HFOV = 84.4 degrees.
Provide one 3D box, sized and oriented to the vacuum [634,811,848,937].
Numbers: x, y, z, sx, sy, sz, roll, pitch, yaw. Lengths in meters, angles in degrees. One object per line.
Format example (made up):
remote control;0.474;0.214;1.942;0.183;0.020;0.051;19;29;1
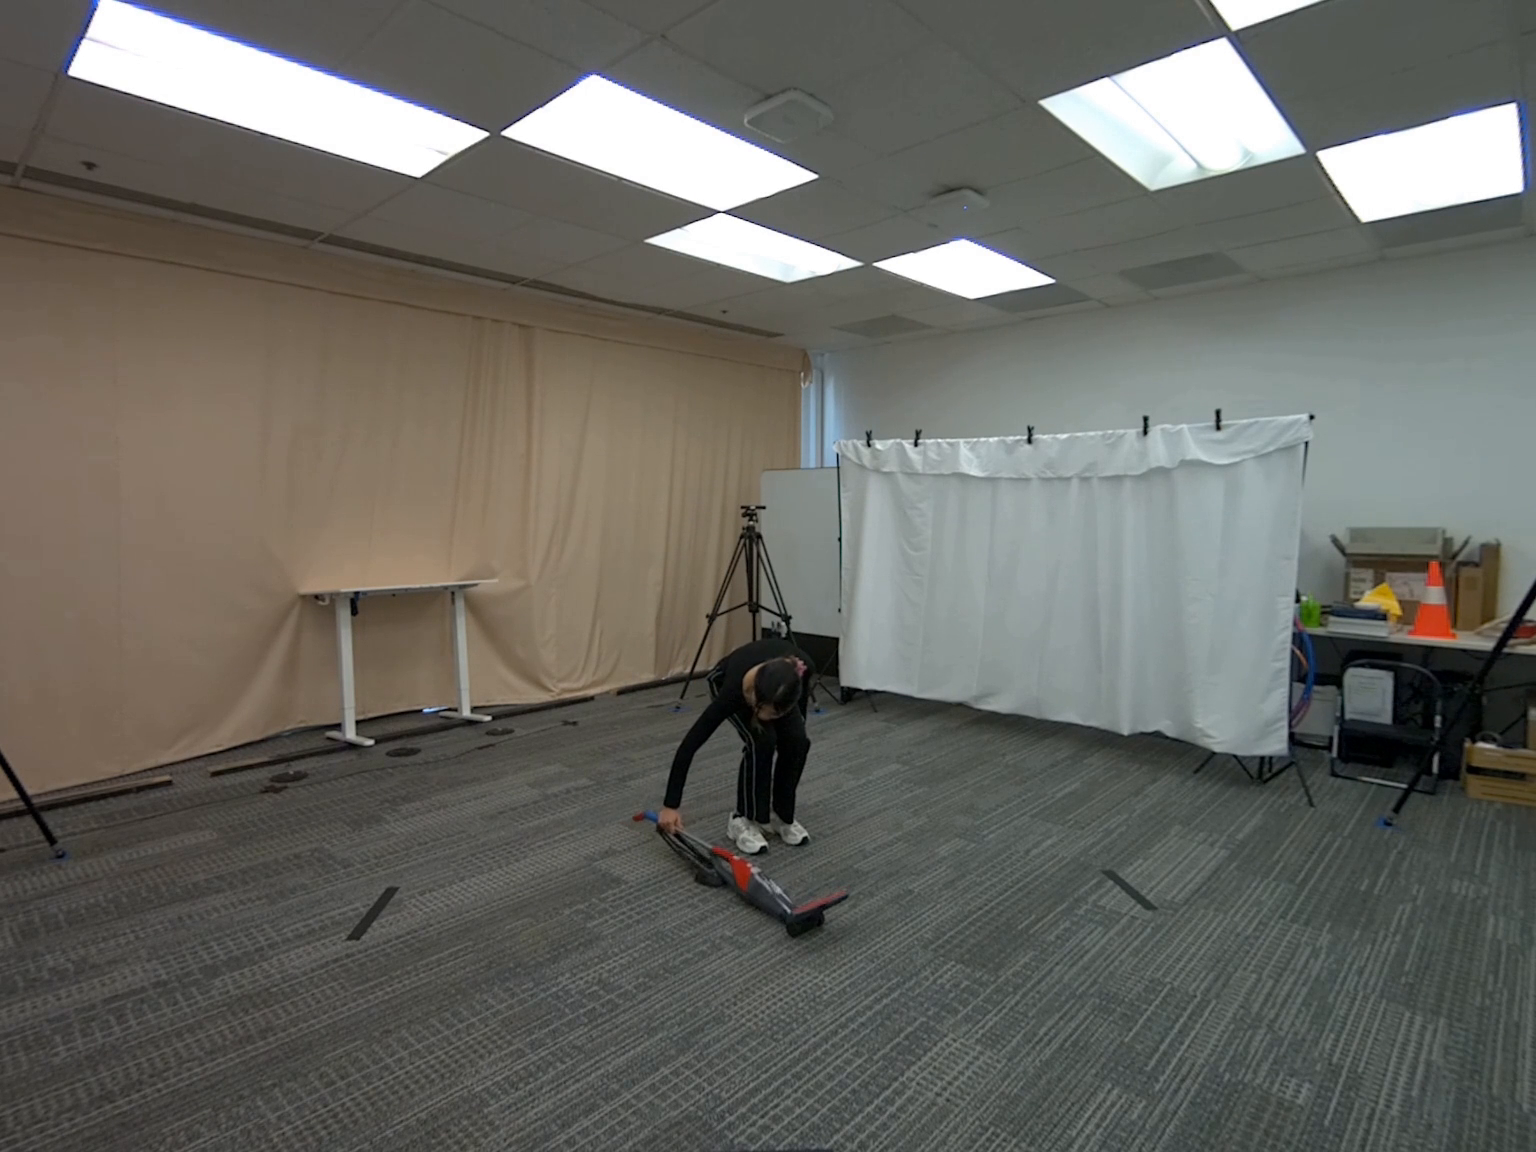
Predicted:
vacuum;-0.203;1.057;3.132;0.244;0.144;1.084;1;4;-40
